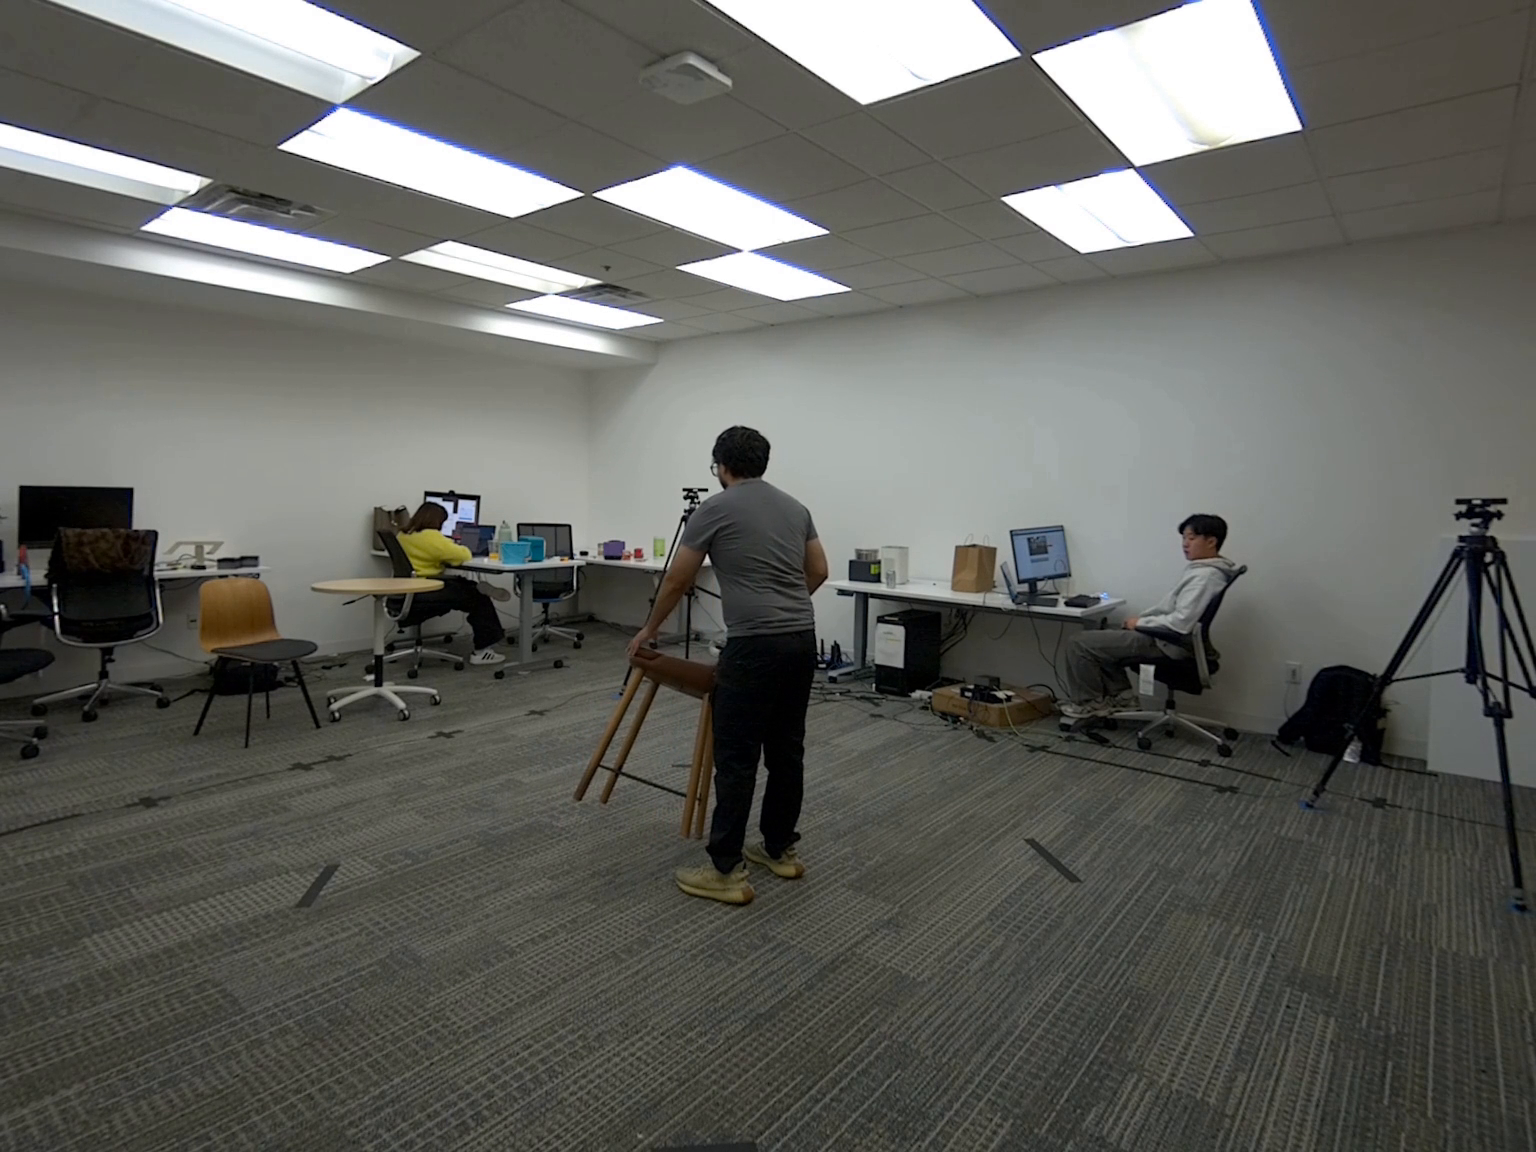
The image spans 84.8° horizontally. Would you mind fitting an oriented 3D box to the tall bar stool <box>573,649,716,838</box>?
[{"bbox_3d":[-0.379,0.540,3.399,0.475,0.897,0.446,16,-16,10],"label":"tall bar stool"}]
